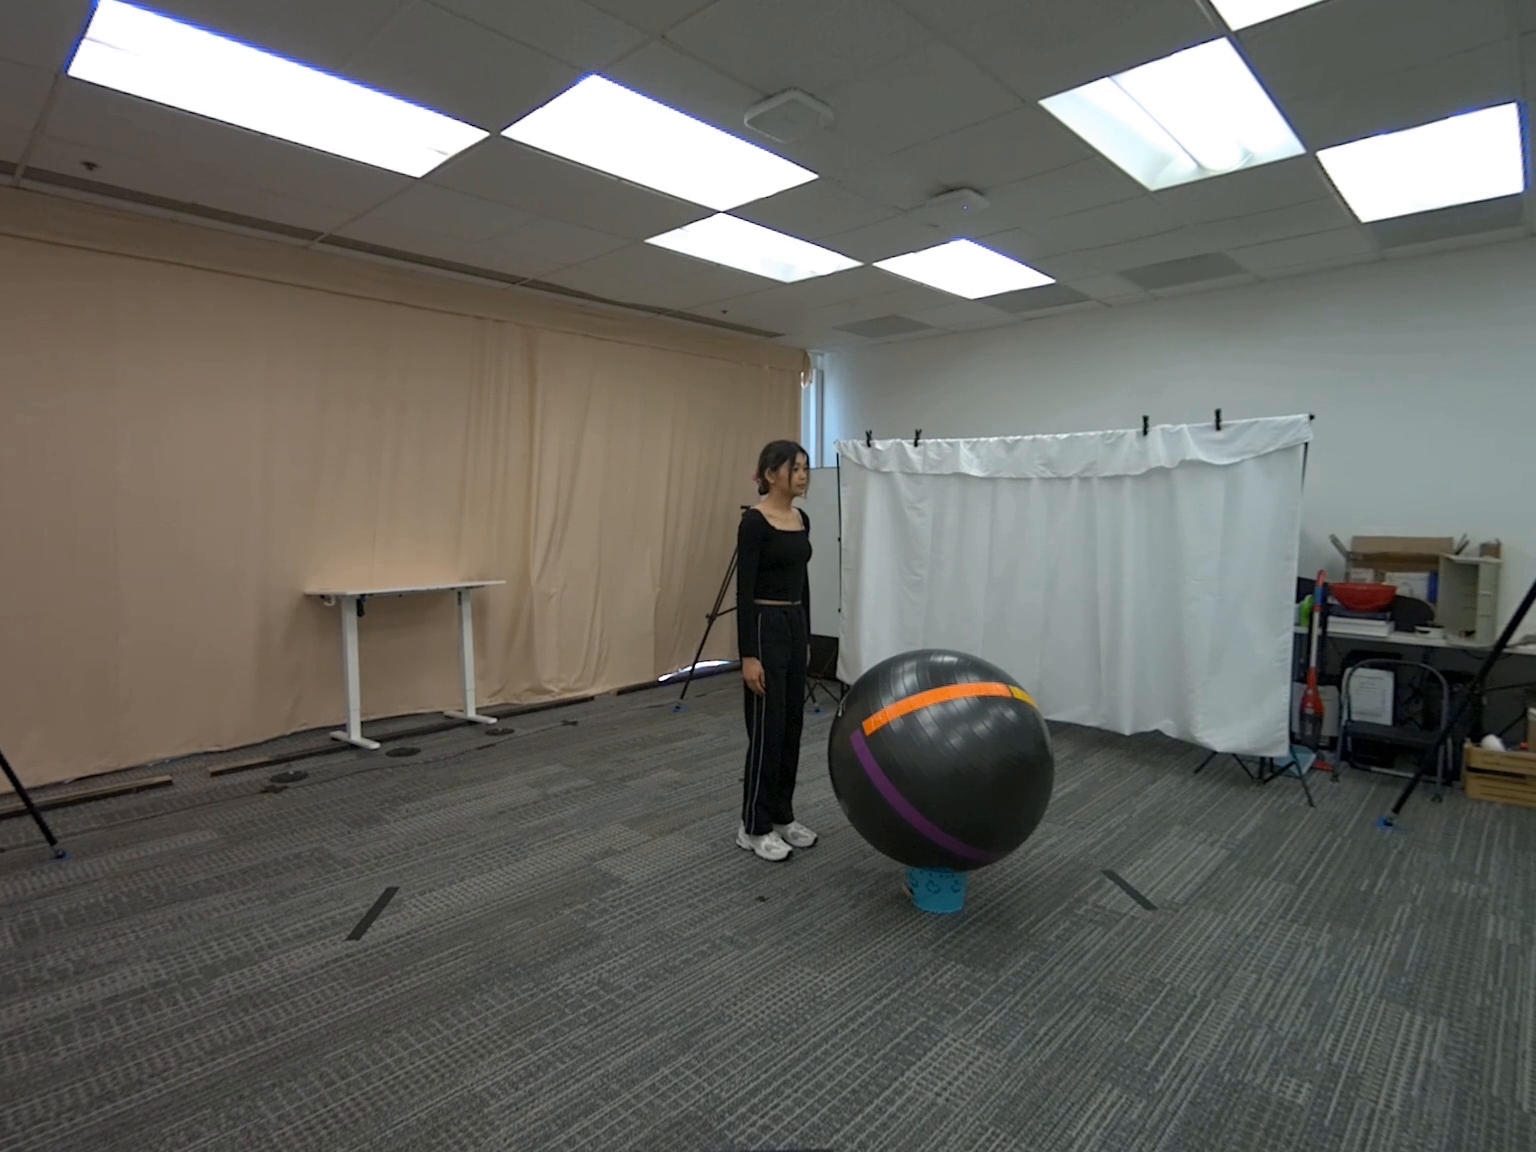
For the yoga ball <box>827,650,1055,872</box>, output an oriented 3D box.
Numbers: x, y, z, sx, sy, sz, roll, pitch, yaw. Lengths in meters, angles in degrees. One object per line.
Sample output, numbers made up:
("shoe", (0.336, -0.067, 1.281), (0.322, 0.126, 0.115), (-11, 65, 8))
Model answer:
("yoga ball", (0.598, 0.636, 2.939), (0.757, 0.756, 0.760), (0, 4, -2))
